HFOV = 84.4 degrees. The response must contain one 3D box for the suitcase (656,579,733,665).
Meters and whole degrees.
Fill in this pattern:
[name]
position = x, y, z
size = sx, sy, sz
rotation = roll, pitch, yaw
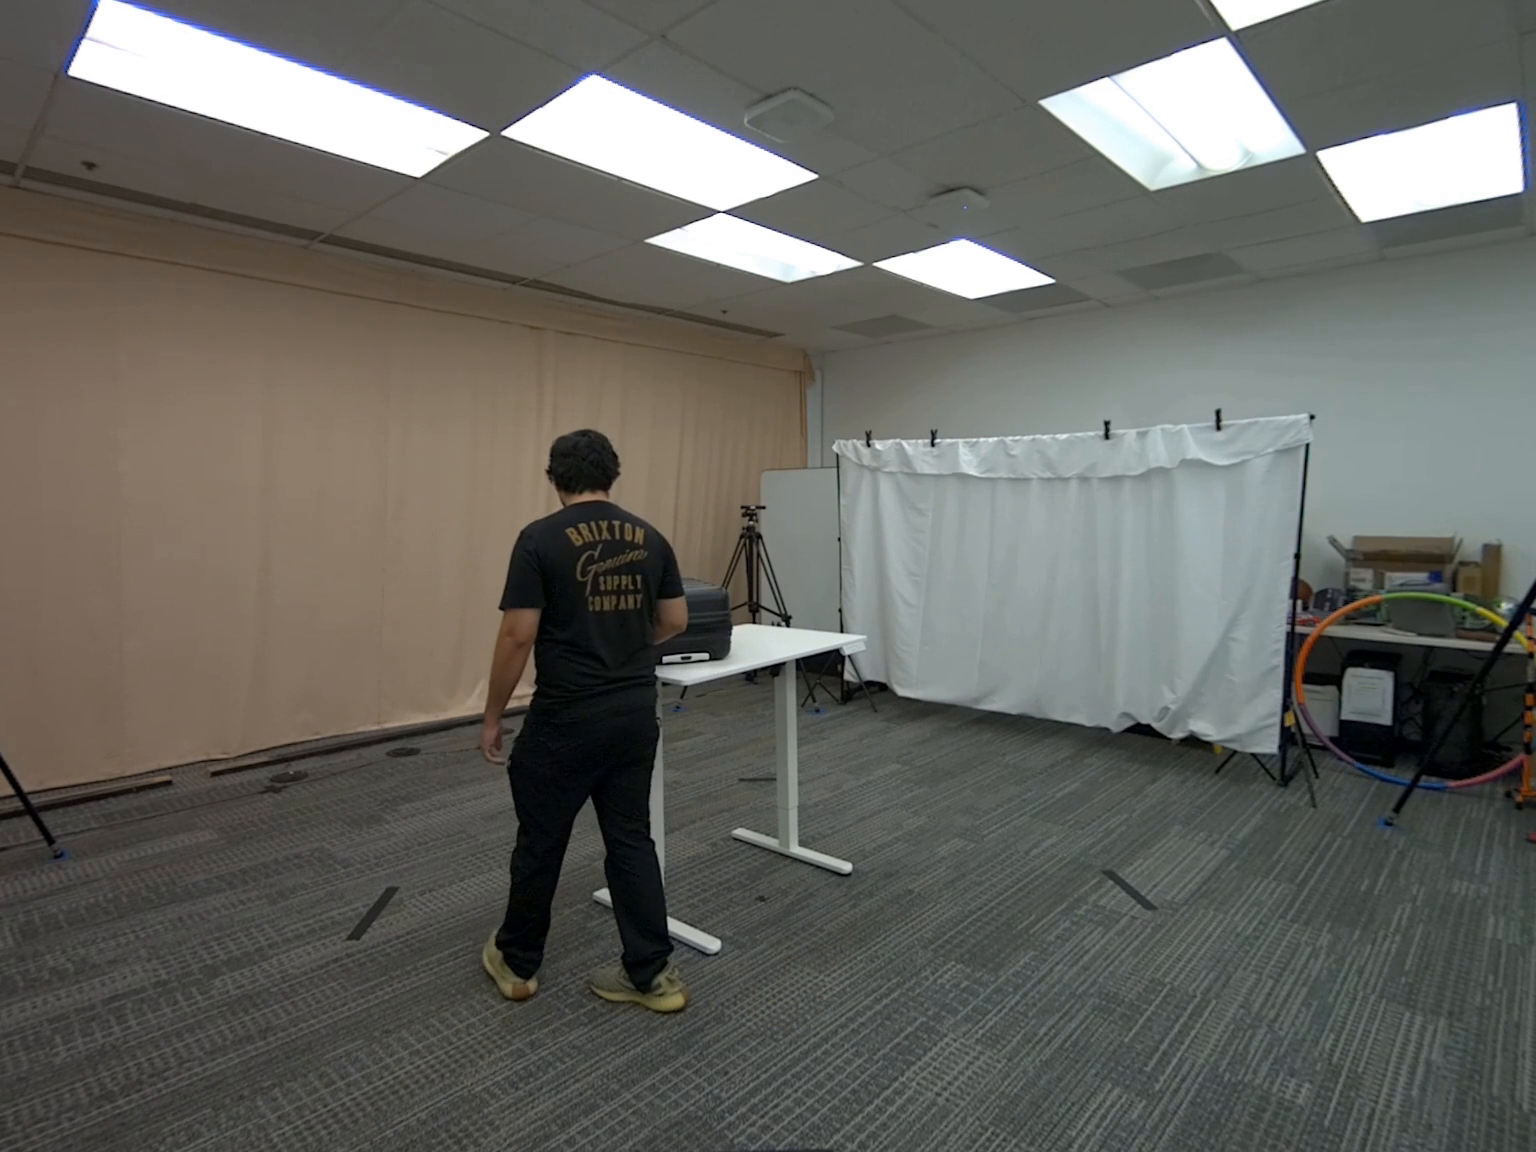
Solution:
[suitcase]
position = -0.354, 0.152, 2.951
size = 0.368, 0.248, 0.561
rotation = -2, 4, -19
